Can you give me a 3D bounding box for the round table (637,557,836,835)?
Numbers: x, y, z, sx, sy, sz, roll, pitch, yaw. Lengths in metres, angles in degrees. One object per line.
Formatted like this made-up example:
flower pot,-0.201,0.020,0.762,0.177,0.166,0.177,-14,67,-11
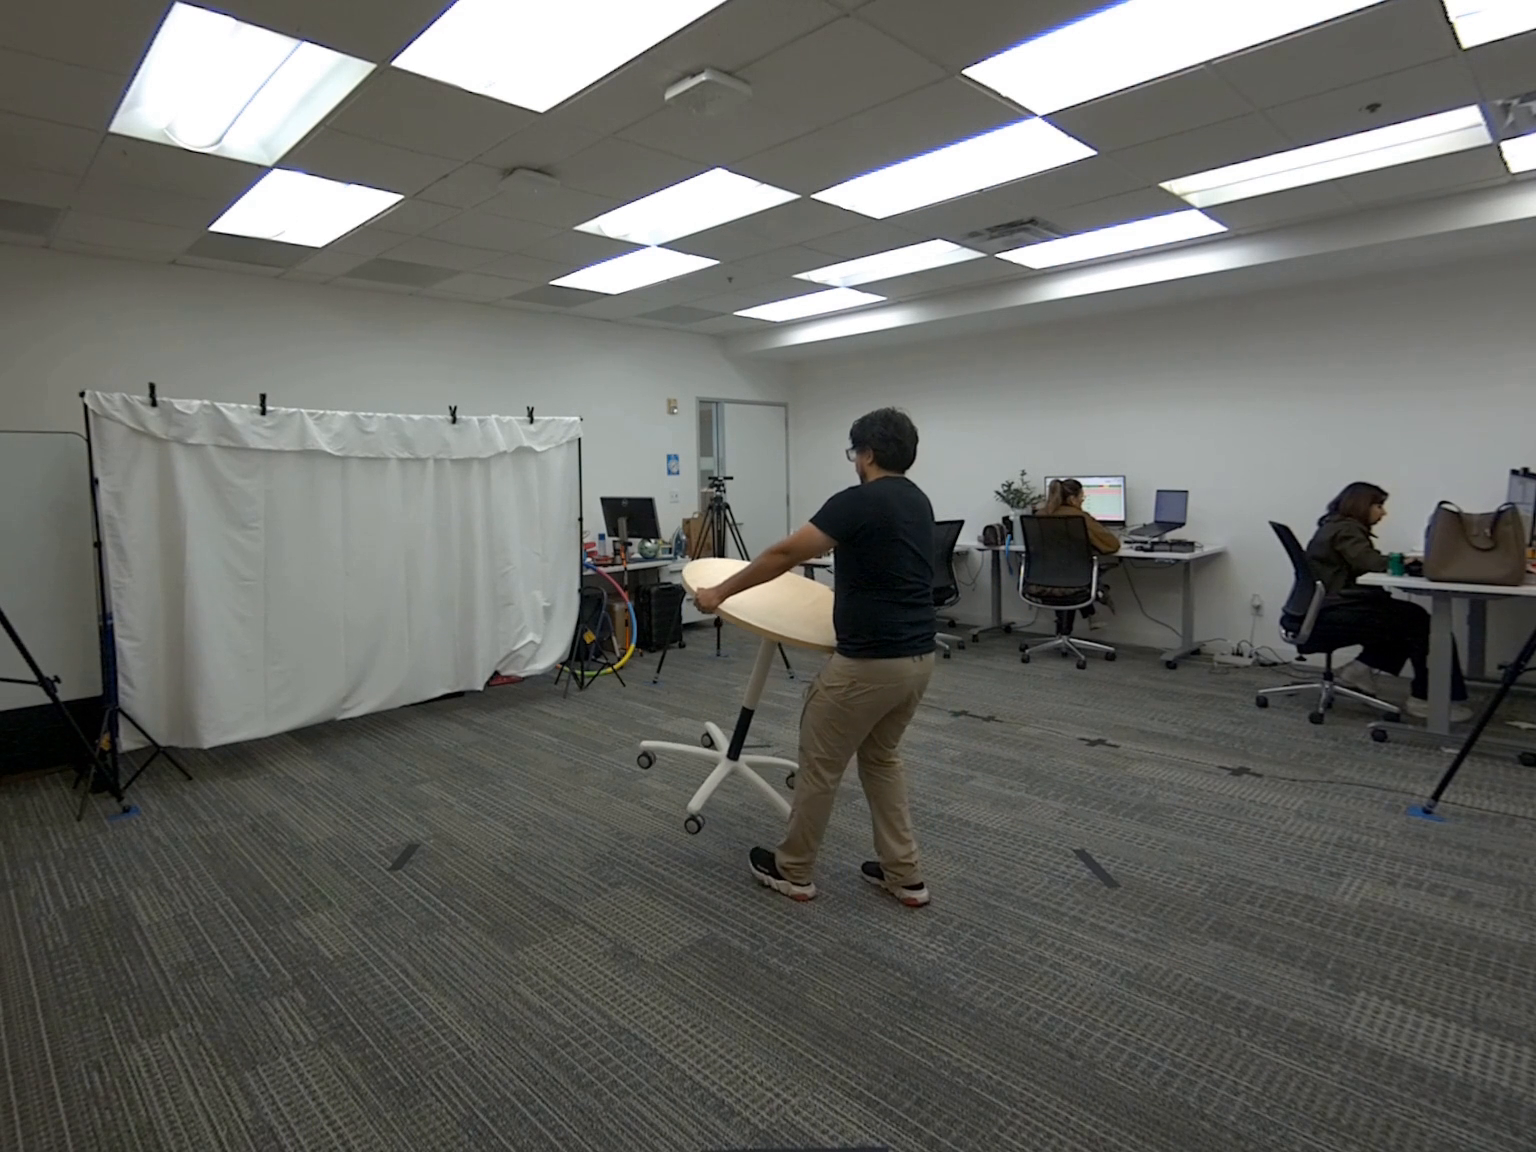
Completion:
round table,-0.070,0.450,3.177,0.781,0.780,0.796,15,14,-6
